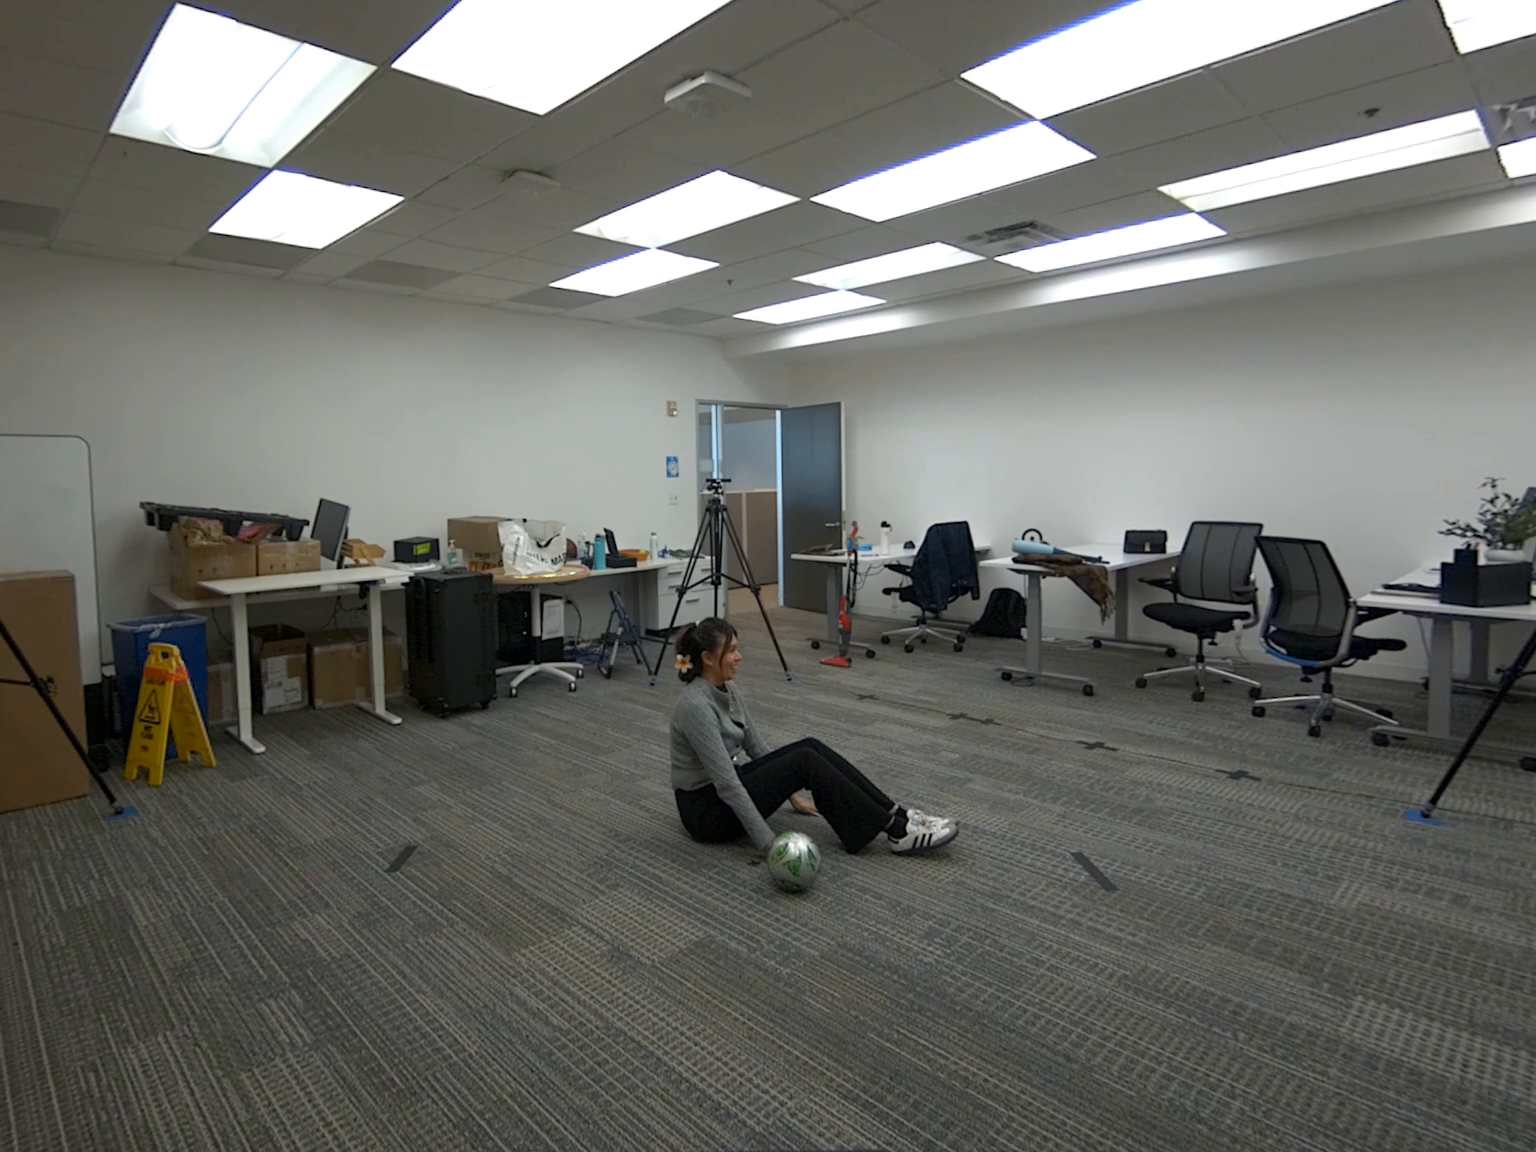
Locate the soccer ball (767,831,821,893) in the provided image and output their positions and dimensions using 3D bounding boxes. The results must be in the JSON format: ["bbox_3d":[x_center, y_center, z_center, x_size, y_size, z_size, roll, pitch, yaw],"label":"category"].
[{"bbox_3d":[0.088,0.971,2.914,0.187,0.187,0.188,-1,5,-2],"label":"soccer ball"}]
